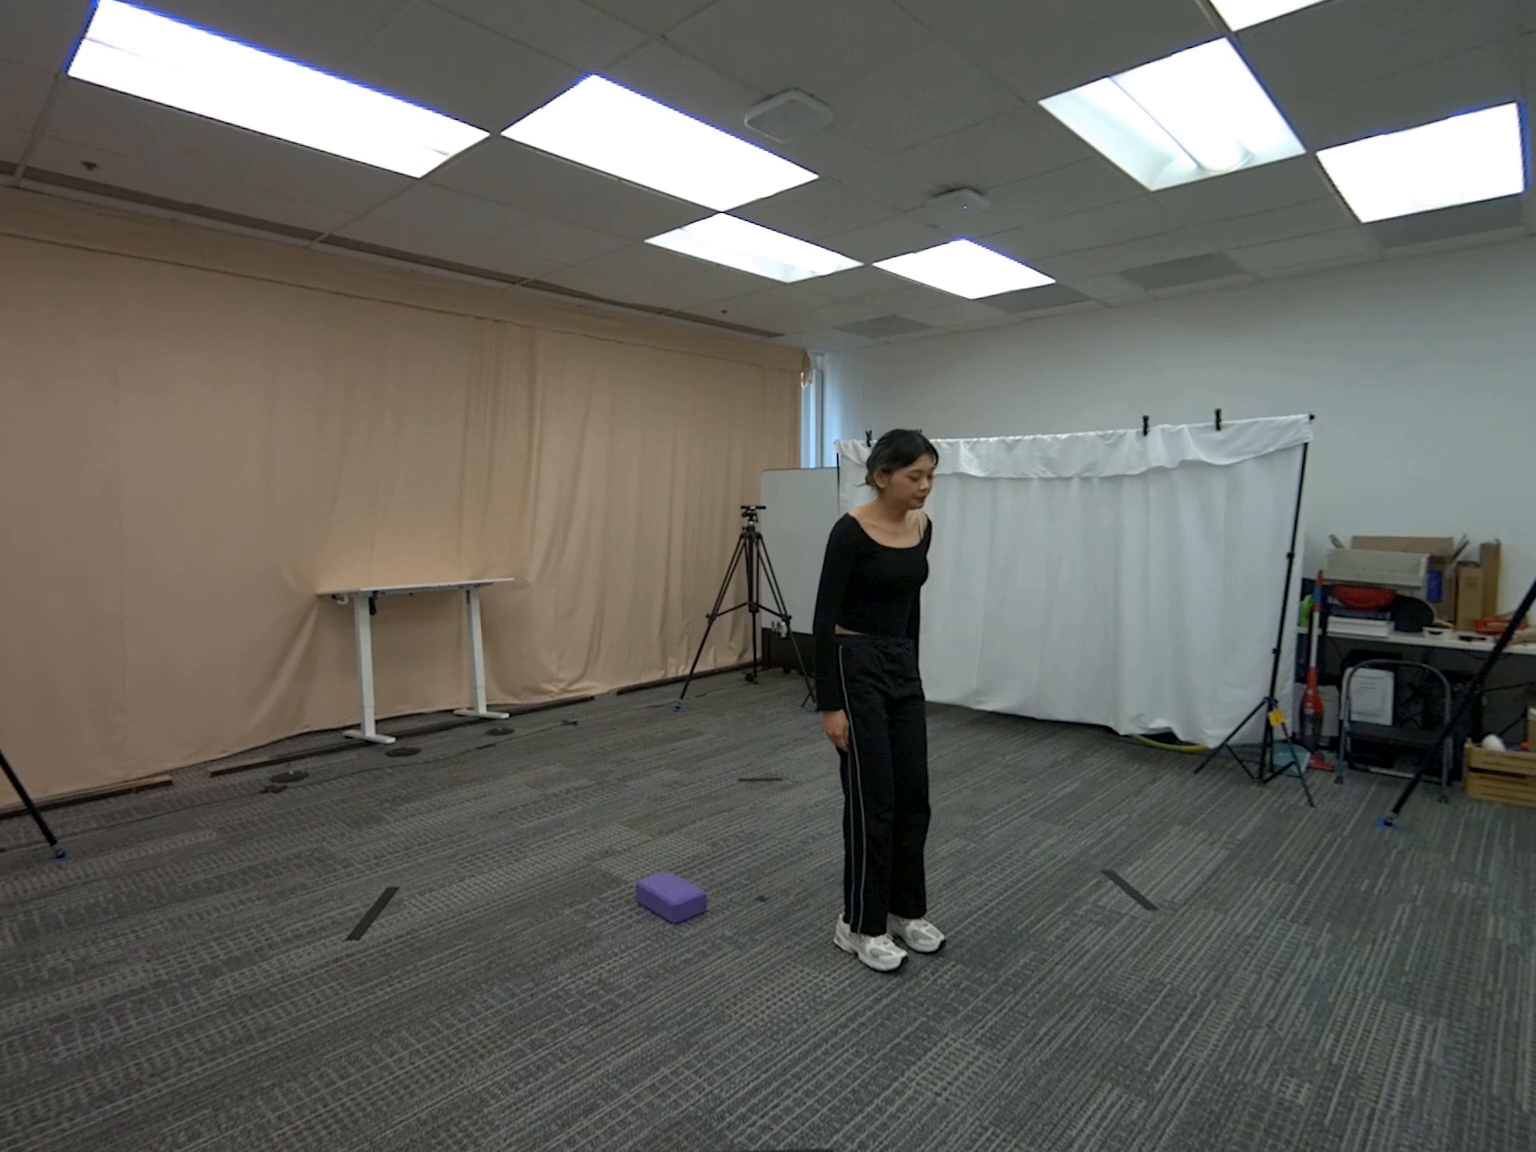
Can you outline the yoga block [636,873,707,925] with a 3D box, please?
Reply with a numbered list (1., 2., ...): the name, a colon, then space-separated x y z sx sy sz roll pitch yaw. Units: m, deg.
1. yoga block: -0.338 1.114 2.919 0.144 0.076 0.237 -4 6 -42
